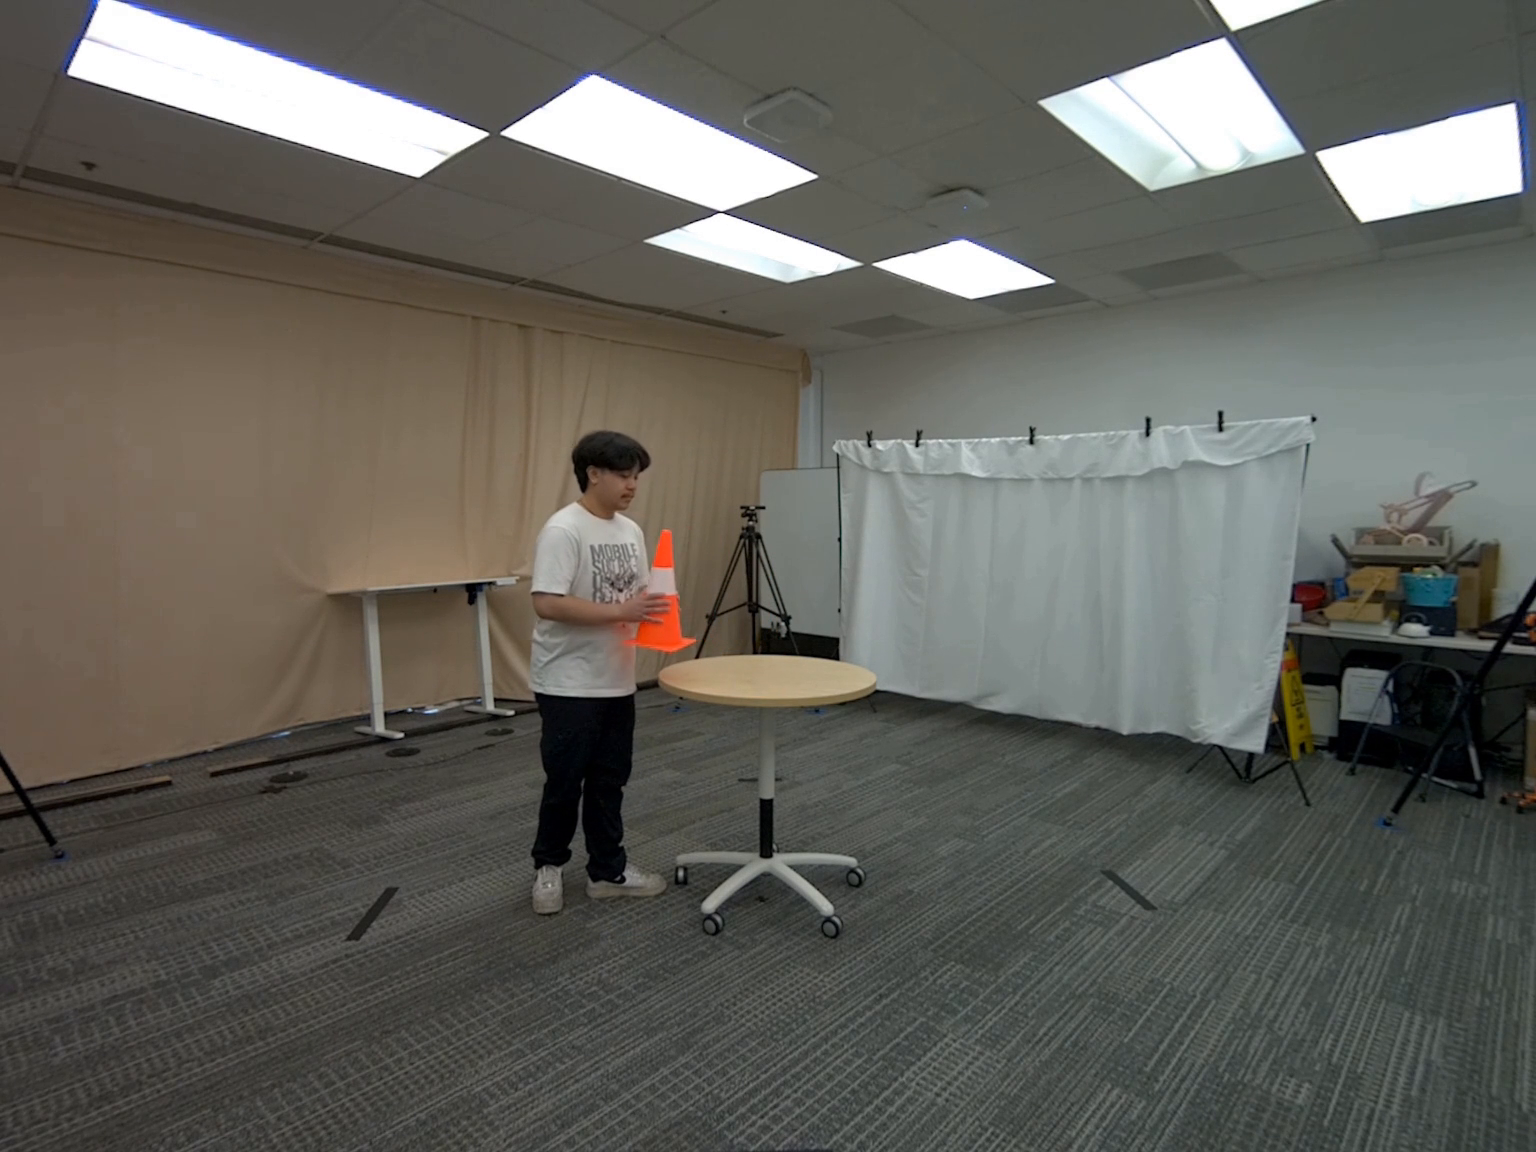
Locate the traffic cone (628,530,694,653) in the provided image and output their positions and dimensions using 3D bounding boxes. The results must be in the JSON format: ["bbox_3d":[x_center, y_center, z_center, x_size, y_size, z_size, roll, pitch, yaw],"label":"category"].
[{"bbox_3d":[-0.361,0.037,2.835,0.209,0.383,0.200,7,5,24],"label":"traffic cone"}]
